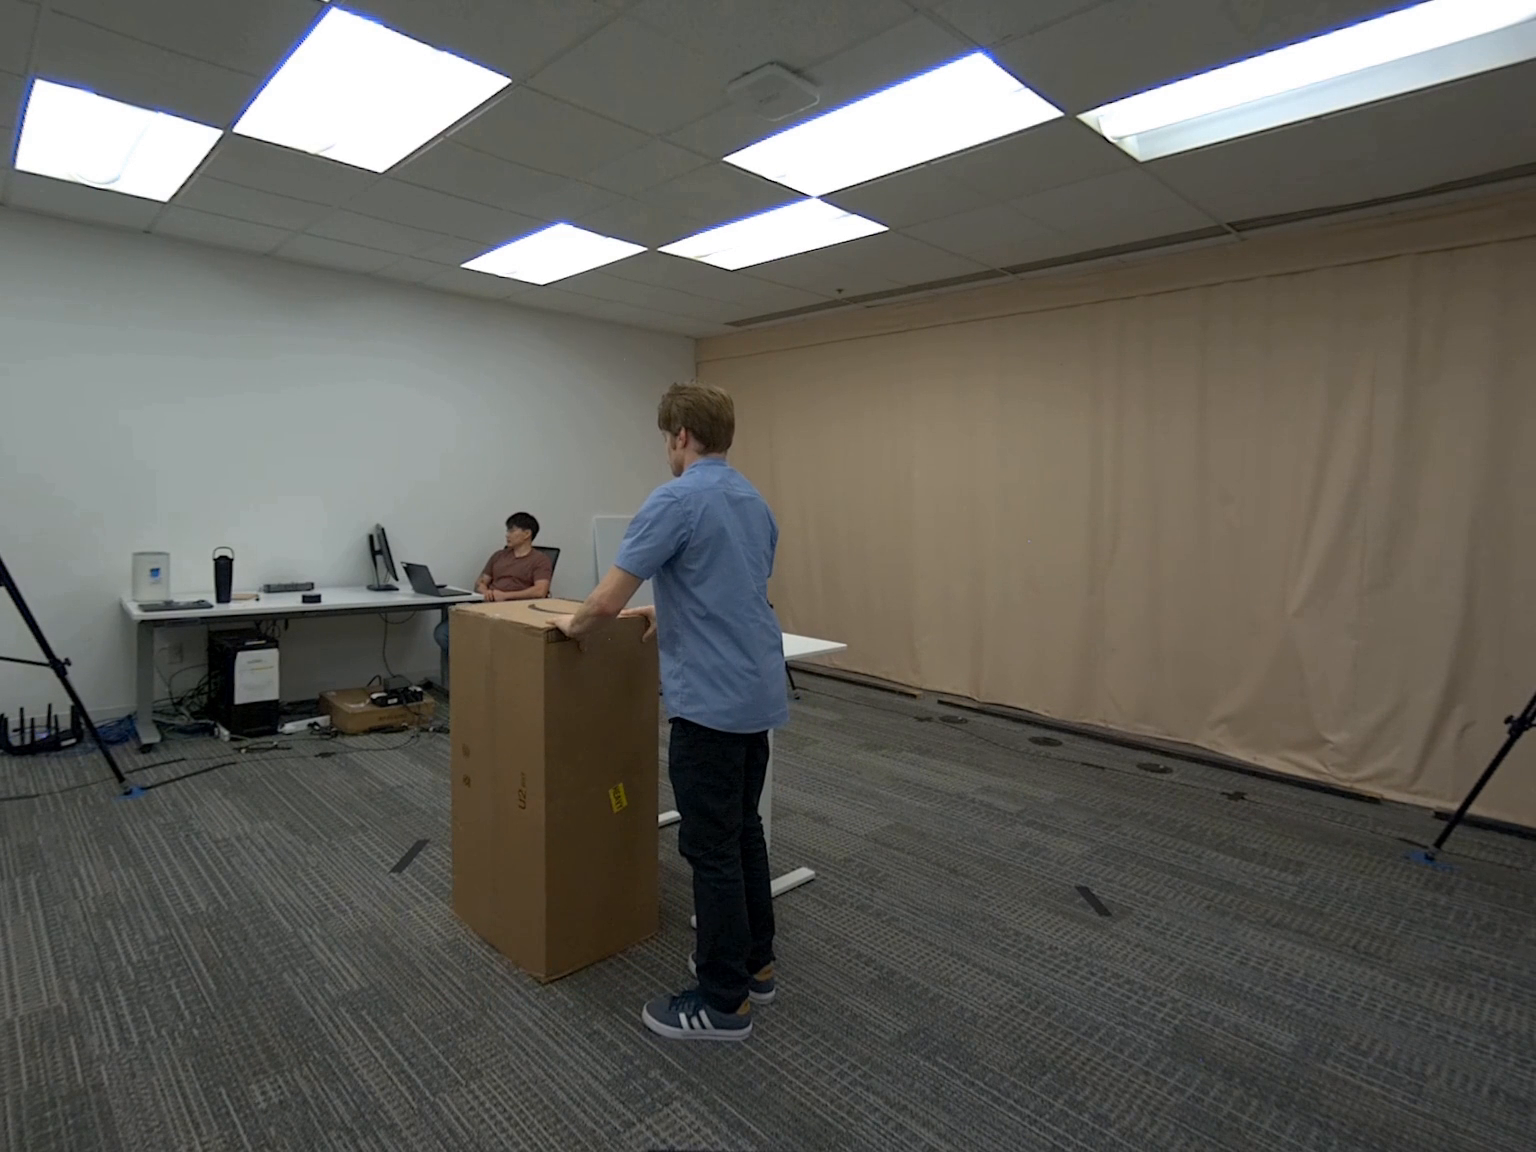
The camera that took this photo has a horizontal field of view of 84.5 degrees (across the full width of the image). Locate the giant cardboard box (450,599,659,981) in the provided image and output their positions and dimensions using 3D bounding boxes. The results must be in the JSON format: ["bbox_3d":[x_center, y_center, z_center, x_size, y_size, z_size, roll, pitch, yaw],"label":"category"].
[{"bbox_3d":[-0.695,0.619,2.708,0.592,1.024,0.416,4,4,45],"label":"giant cardboard box"}]
